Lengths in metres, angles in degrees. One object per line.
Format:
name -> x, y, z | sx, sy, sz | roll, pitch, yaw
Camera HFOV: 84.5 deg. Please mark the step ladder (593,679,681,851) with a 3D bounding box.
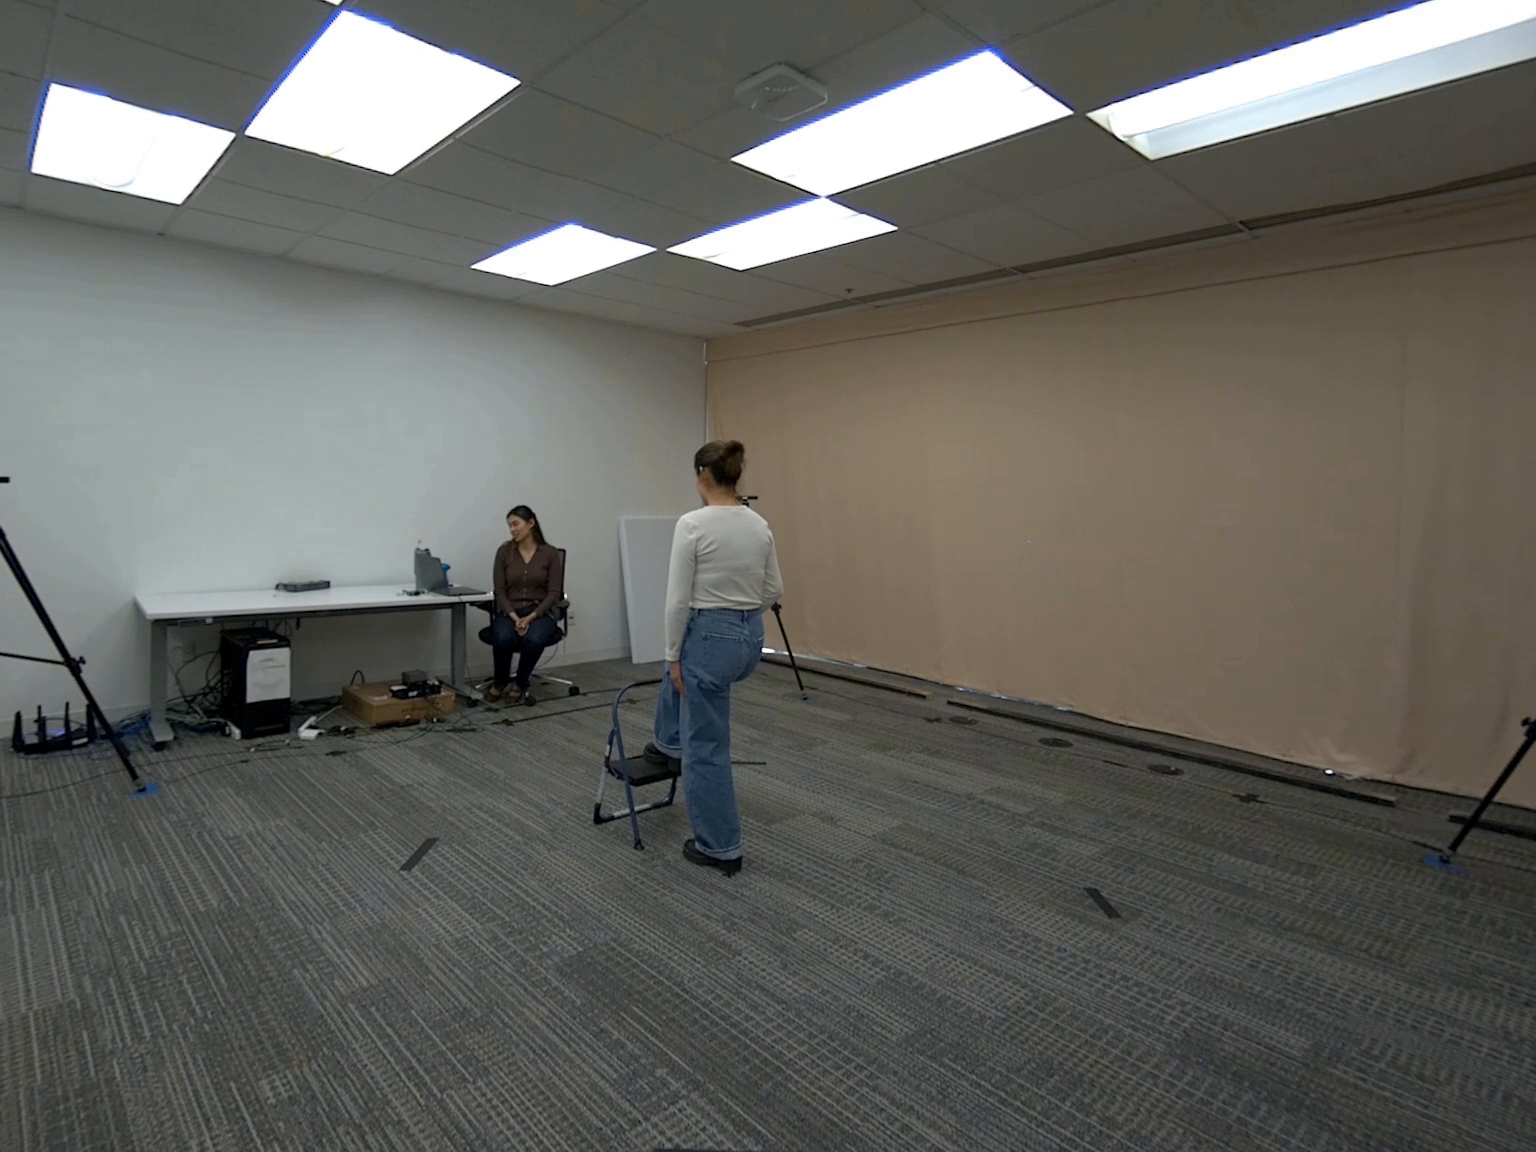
step ladder -> -0.475, 0.754, 3.556 | 0.420, 0.605, 0.358 | -1, 4, -44
